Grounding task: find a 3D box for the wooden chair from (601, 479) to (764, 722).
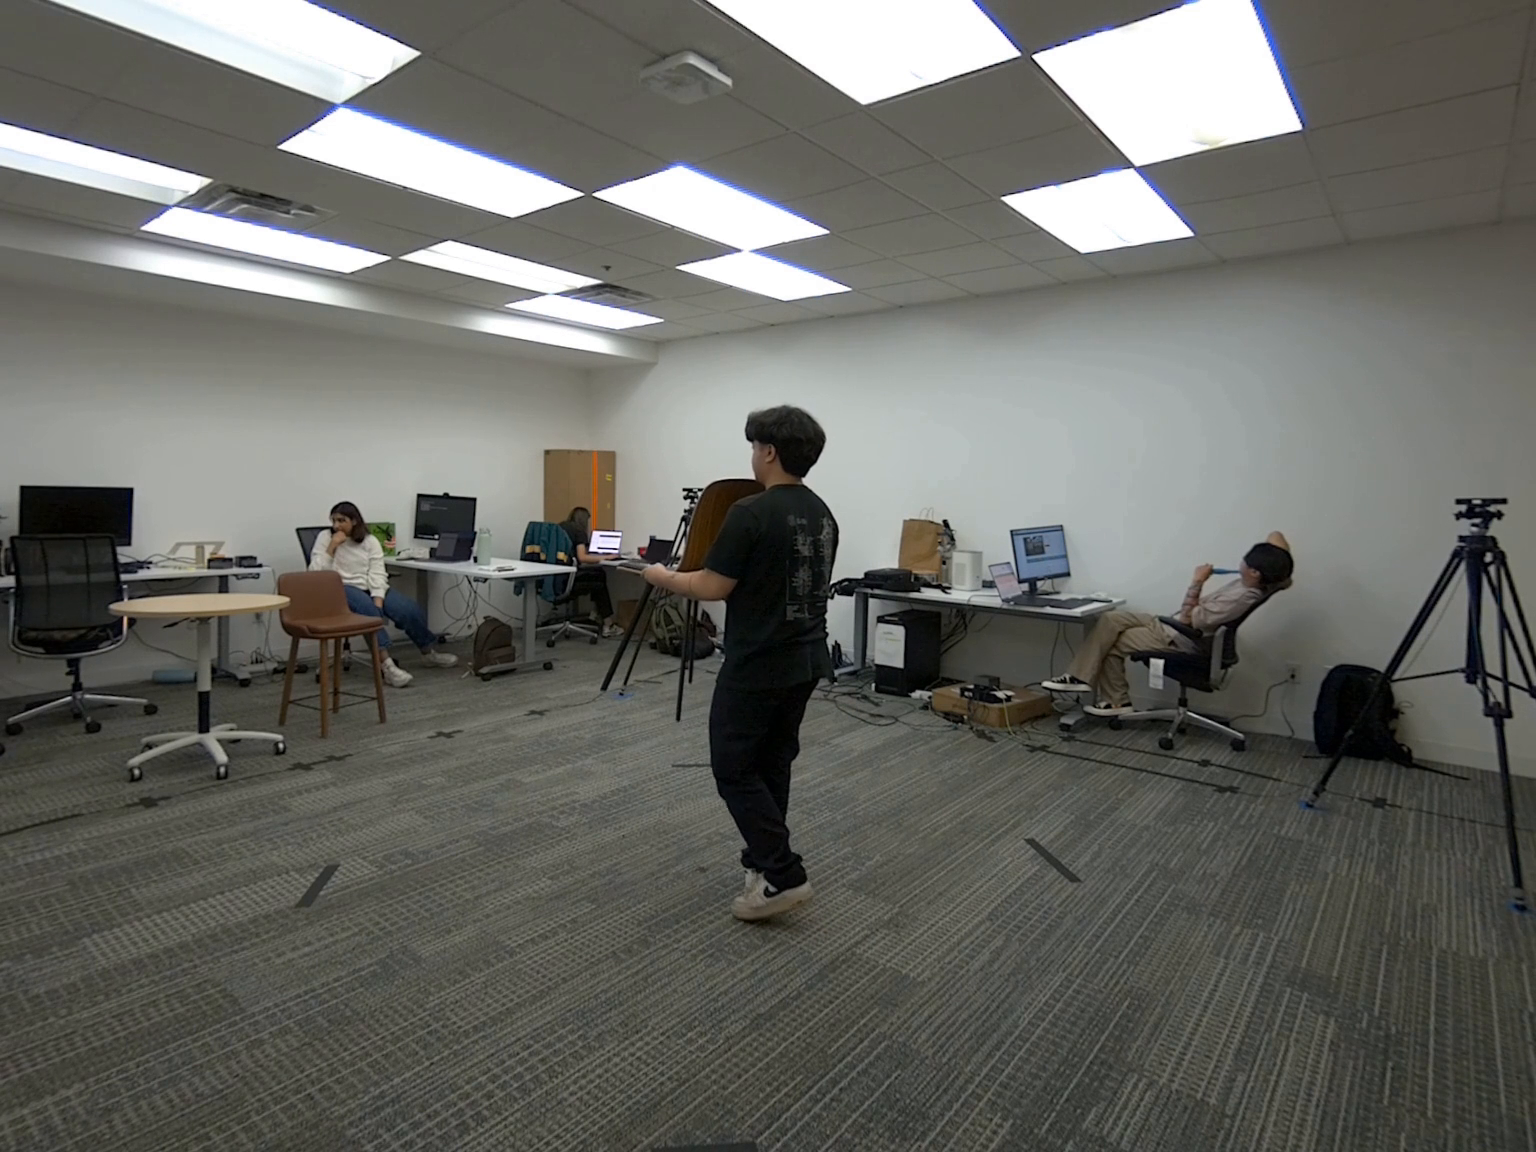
[{"bbox_3d":[-0.280,0.044,3.182,0.462,0.873,0.543,2,9,-44],"label":"wooden chair"}]
